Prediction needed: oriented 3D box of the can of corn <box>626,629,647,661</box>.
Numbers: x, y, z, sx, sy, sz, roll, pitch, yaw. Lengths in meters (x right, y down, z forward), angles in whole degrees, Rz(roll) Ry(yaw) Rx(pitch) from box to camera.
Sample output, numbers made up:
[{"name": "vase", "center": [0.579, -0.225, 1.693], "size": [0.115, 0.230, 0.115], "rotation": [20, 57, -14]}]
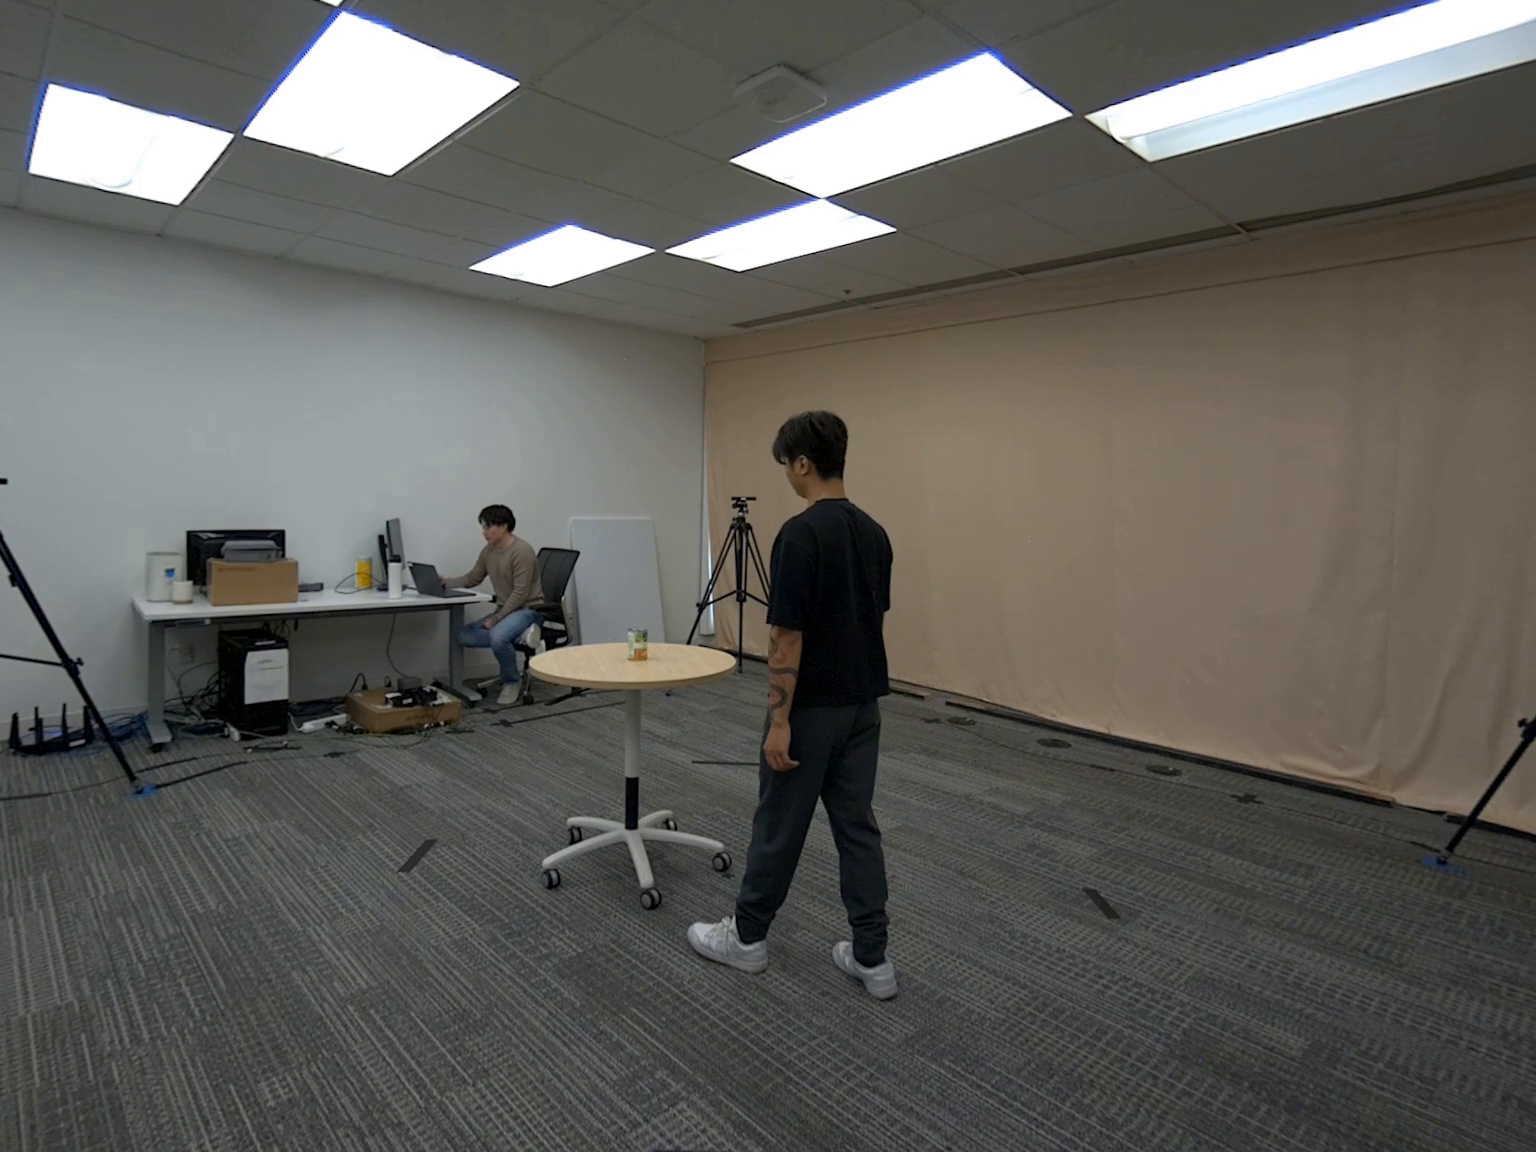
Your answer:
[{"name": "can of corn", "center": [-0.499, 0.260, 3.152], "size": [0.074, 0.111, 0.074], "rotation": [1, 1, -1]}]
